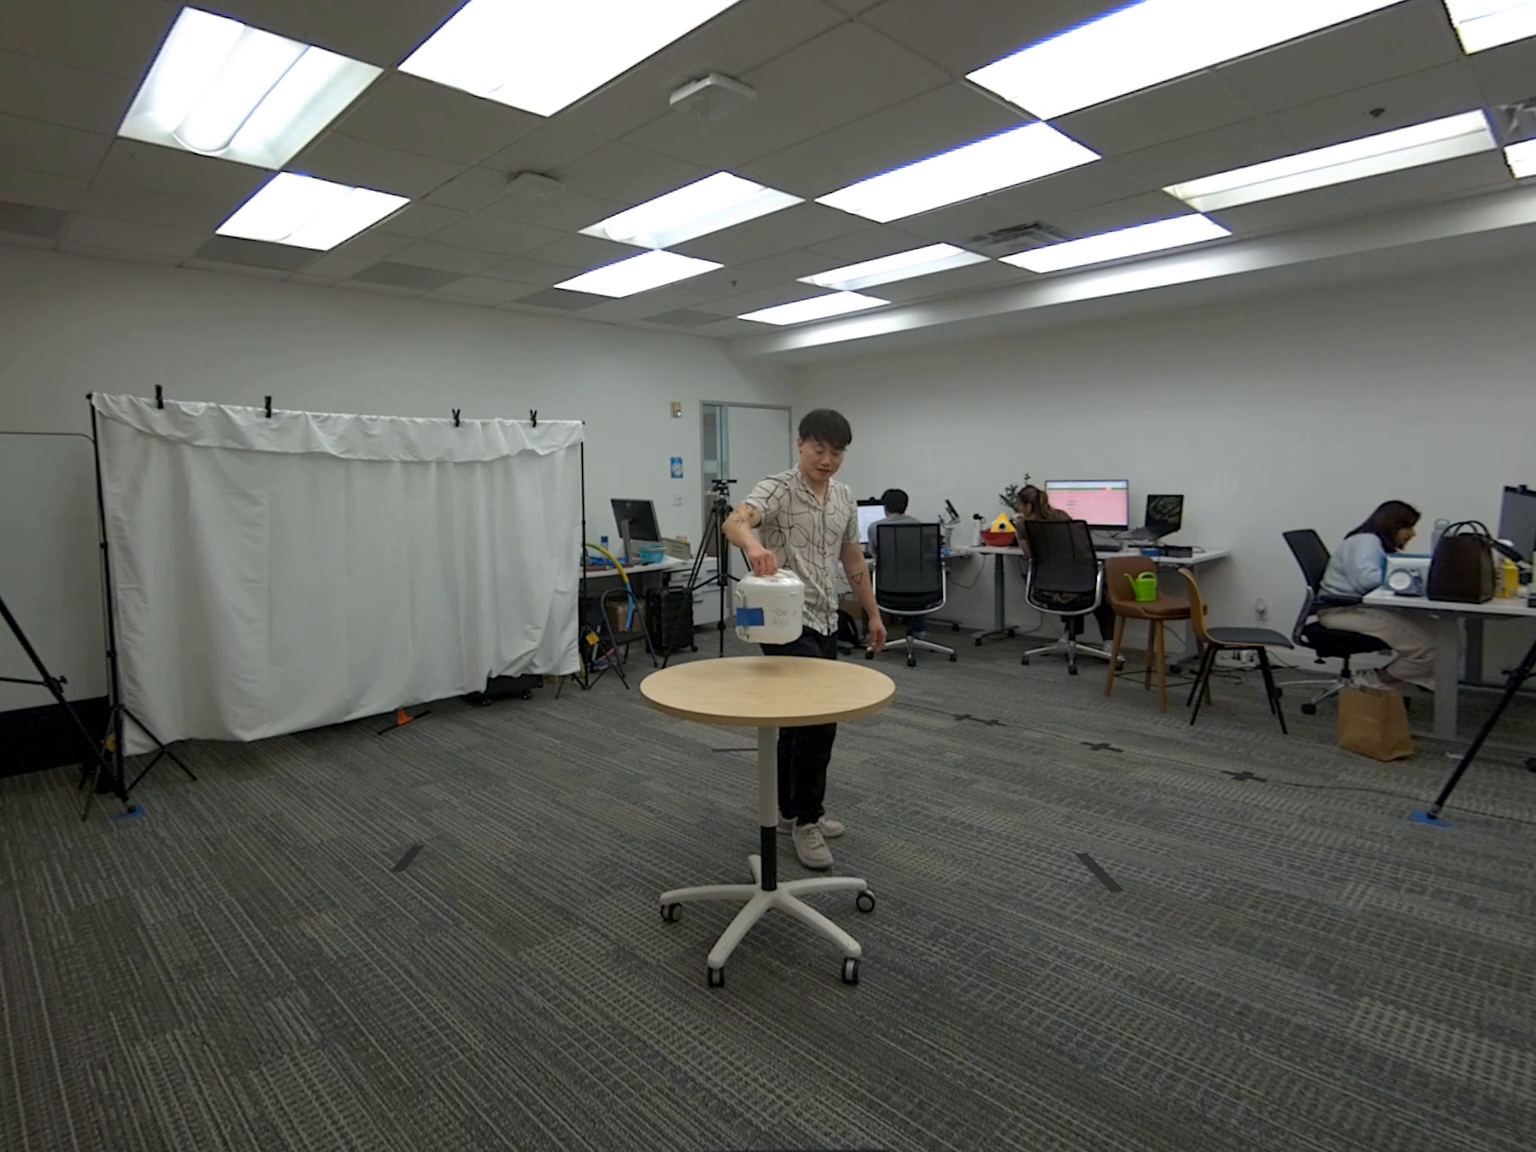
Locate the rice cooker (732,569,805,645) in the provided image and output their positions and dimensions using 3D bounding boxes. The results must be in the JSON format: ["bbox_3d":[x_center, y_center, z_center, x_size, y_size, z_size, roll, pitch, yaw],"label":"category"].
[{"bbox_3d":[0.006,0.091,2.757,0.224,0.232,0.215,3,6,13],"label":"rice cooker"}]
